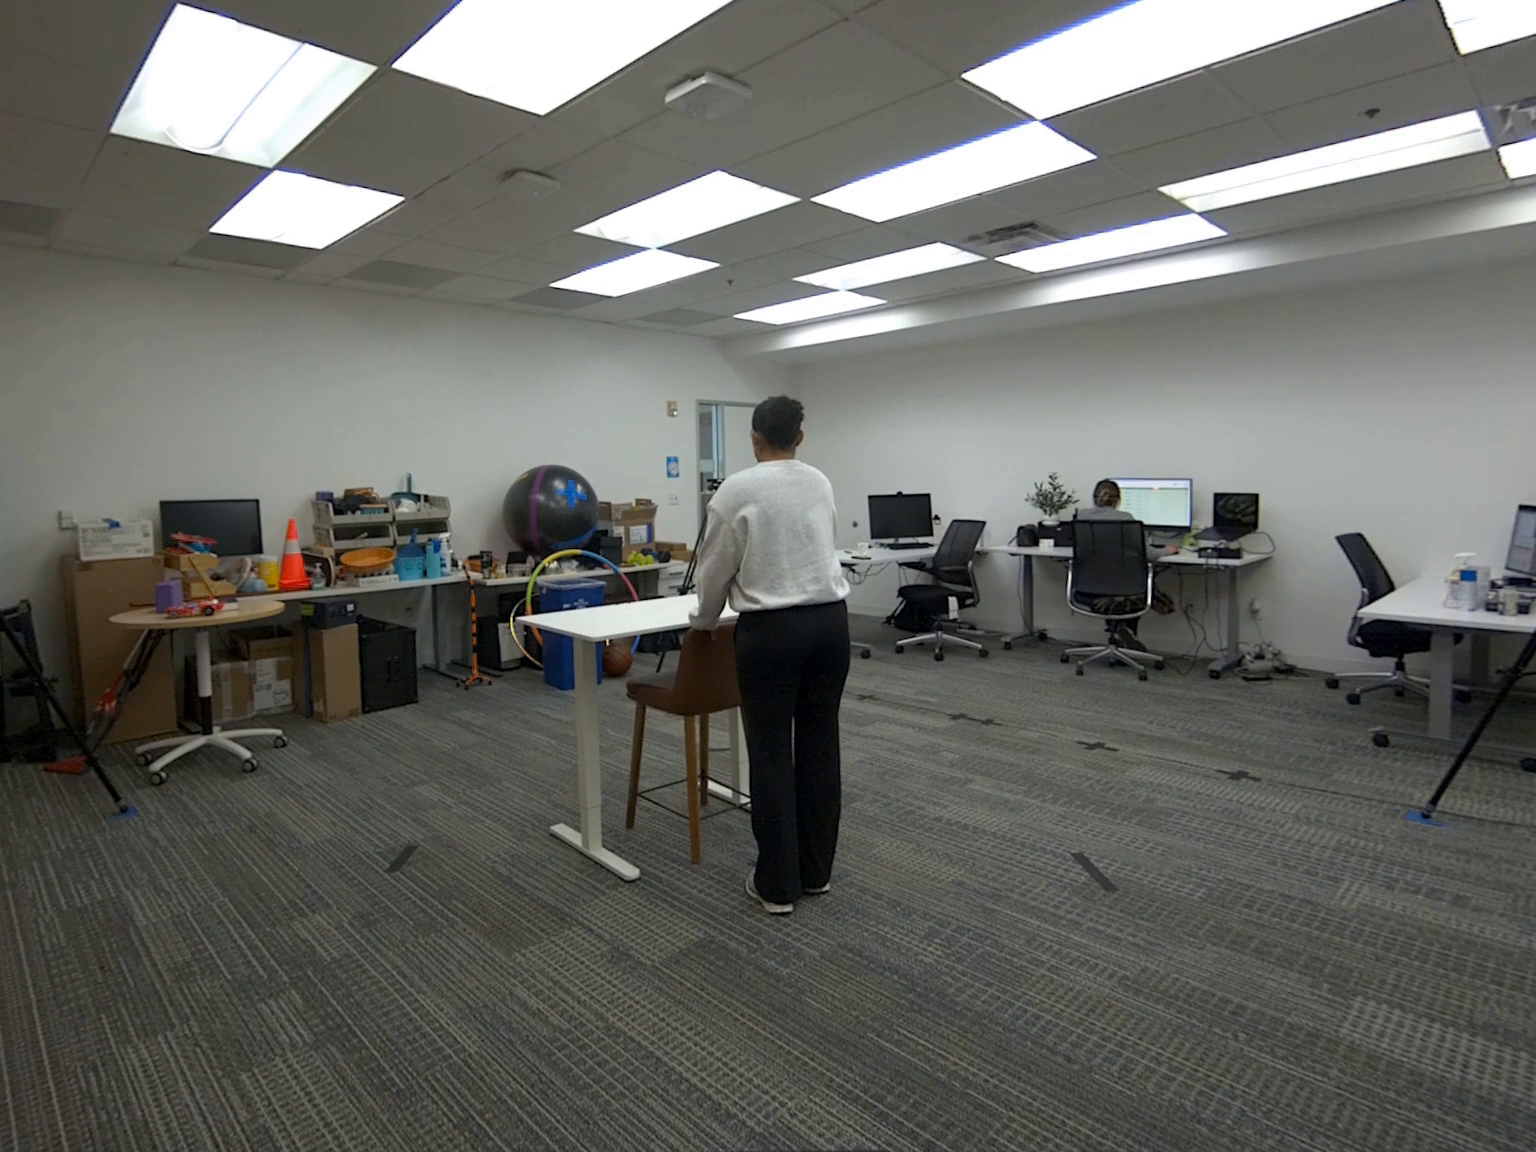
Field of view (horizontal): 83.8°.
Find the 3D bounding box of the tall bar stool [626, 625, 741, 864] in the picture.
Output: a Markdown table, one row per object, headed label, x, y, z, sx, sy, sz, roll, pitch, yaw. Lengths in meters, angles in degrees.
| label | x | y | z | sx | sy | sz | roll | pitch | yaw |
| --- | --- | --- | --- | --- | --- | --- | --- | --- | --- |
| tall bar stool | -0.272 | 0.585 | 3.362 | 0.444 | 0.886 | 0.482 | -3 | 7 | -40 |
